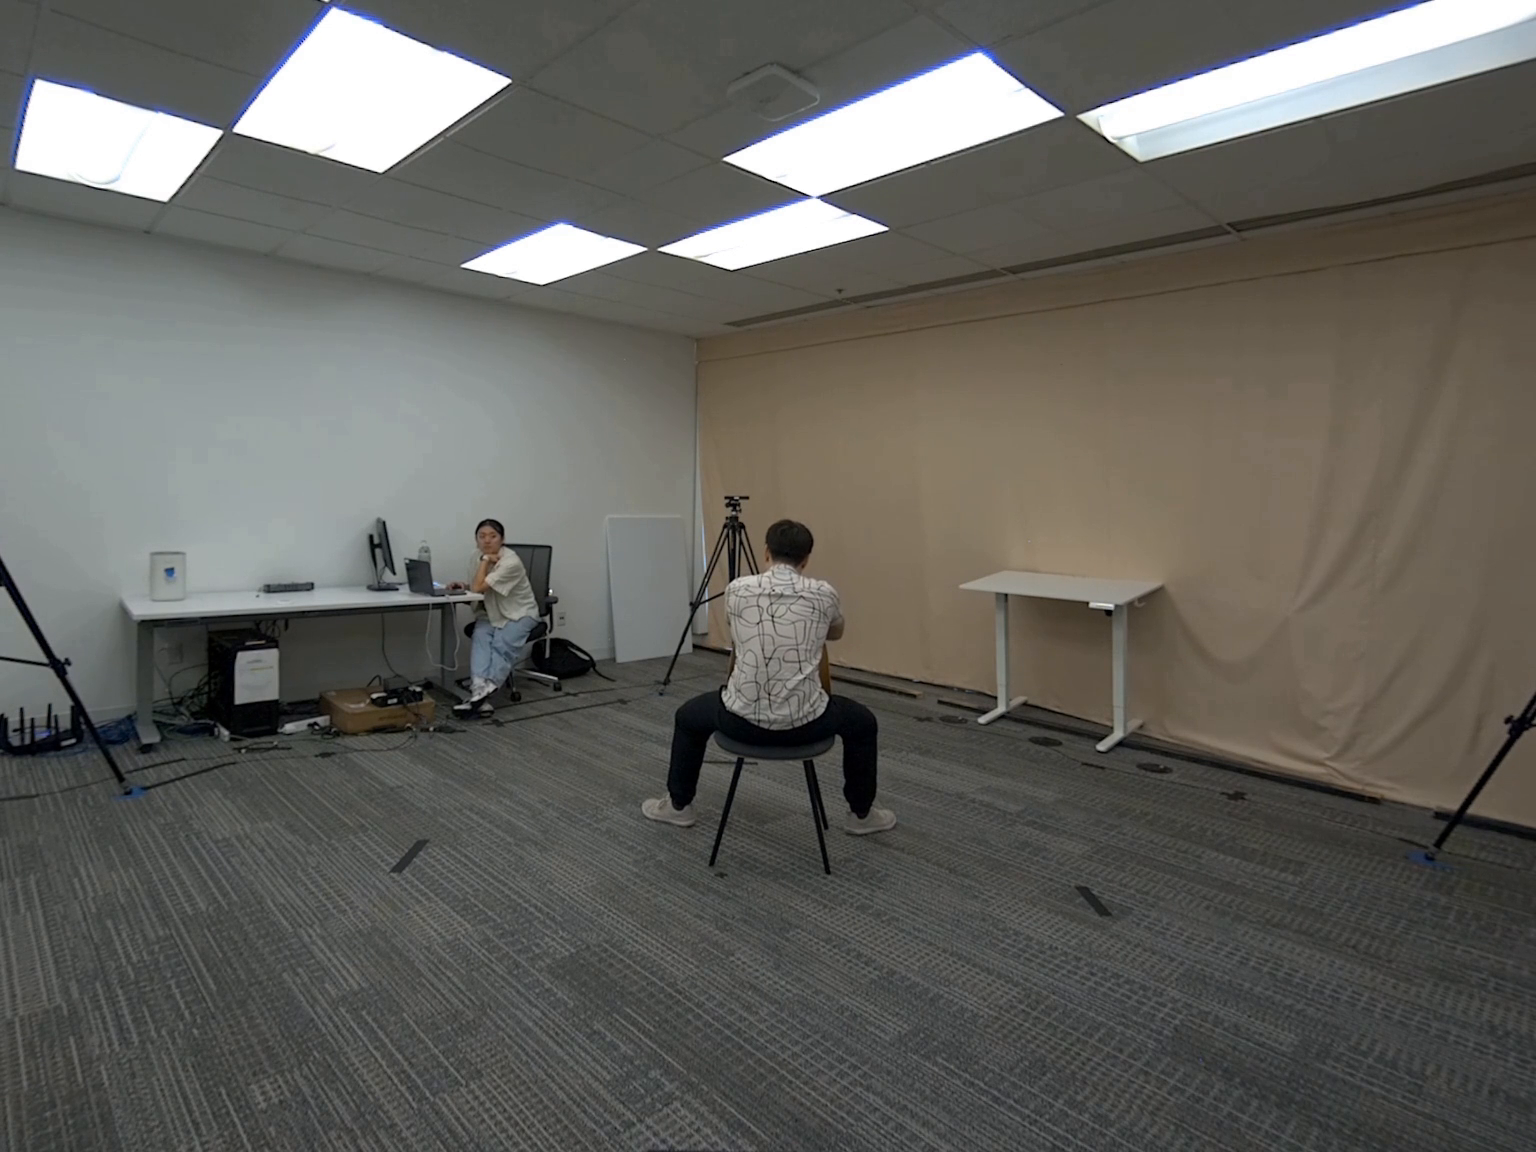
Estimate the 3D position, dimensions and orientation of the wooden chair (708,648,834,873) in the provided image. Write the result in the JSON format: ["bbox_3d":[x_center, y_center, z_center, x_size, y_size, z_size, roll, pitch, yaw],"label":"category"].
[{"bbox_3d":[0.023,0.671,3.332,0.480,0.878,0.520,2,-1,4],"label":"wooden chair"}]
